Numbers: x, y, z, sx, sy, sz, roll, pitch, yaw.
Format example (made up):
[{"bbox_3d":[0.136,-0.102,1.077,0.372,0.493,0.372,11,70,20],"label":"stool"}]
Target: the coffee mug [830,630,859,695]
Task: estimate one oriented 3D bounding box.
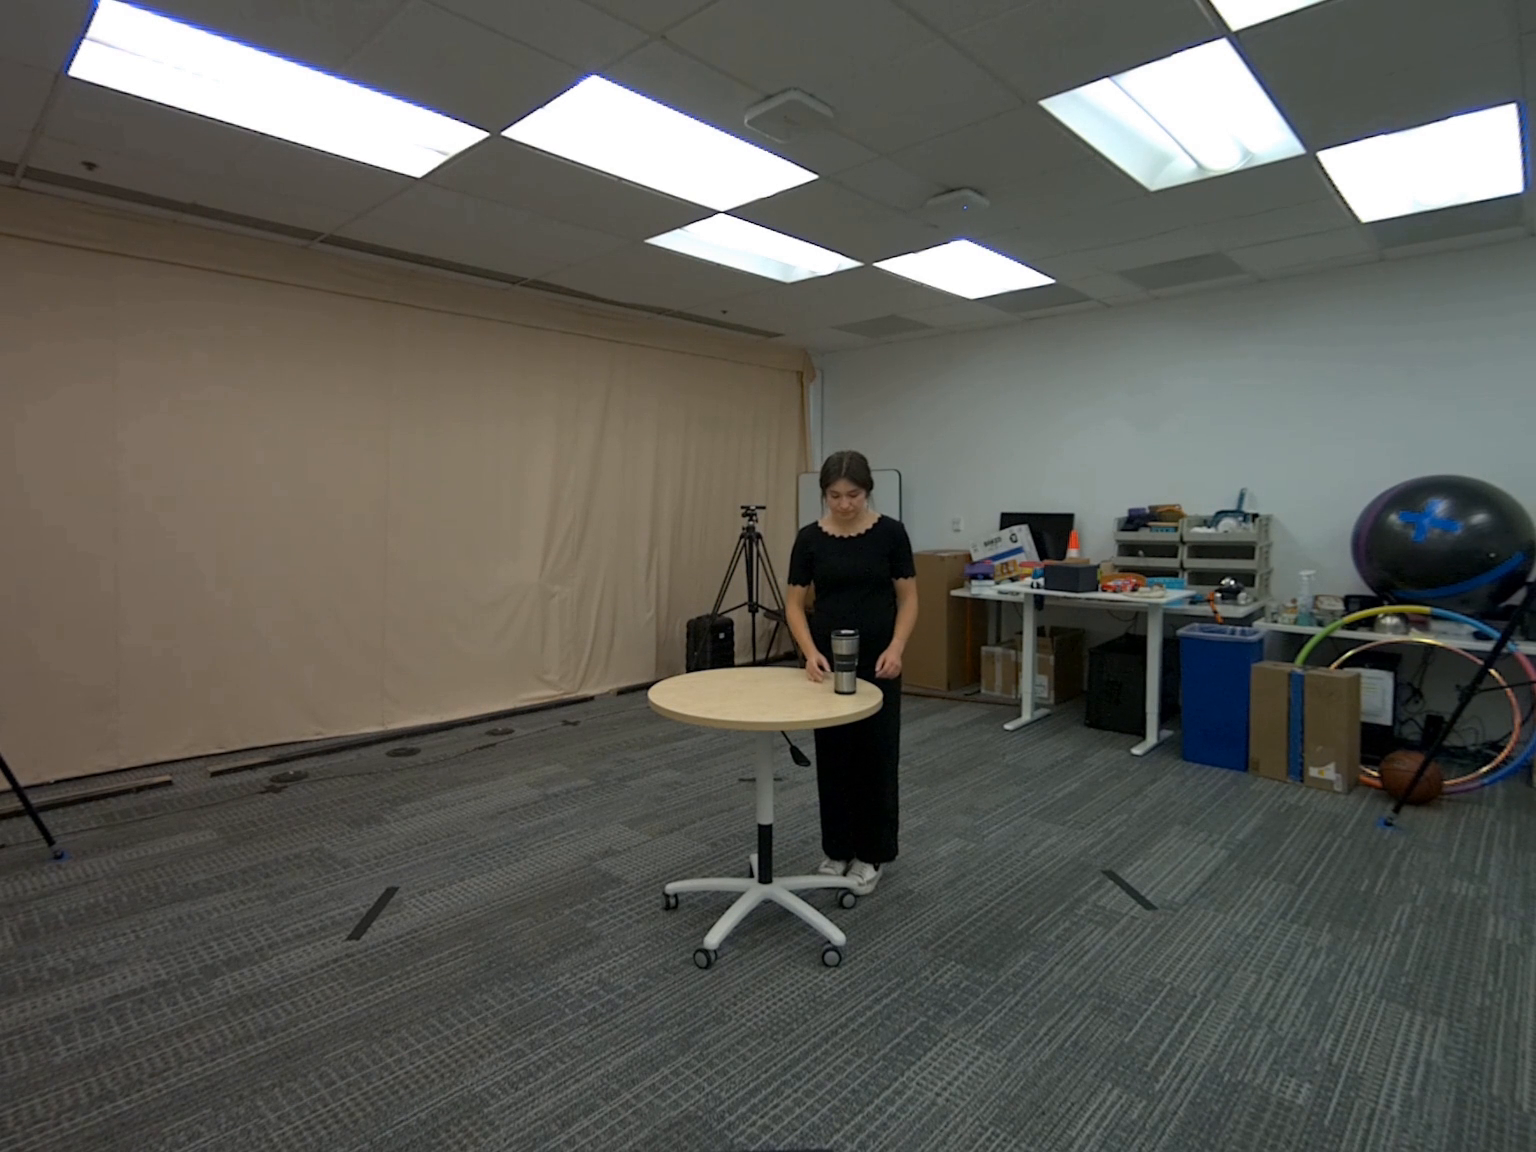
[{"bbox_3d":[0.271,0.278,2.741,0.119,0.202,0.090,-5,3,-30],"label":"coffee mug"}]
